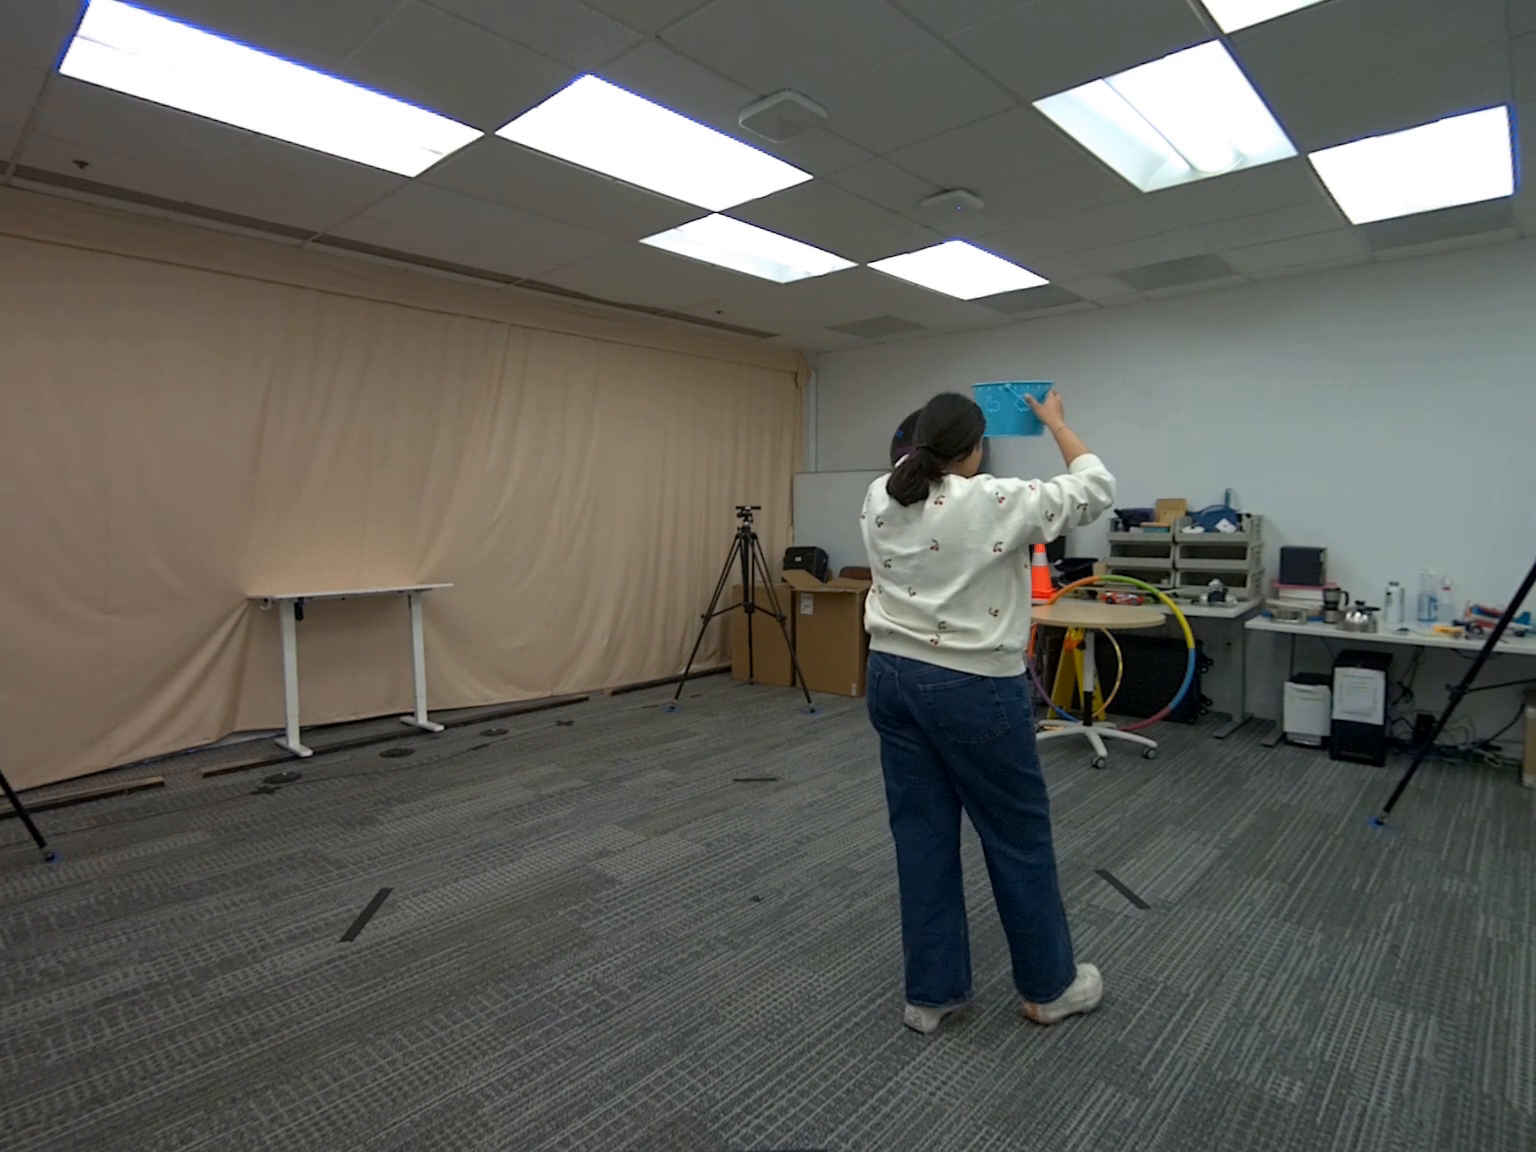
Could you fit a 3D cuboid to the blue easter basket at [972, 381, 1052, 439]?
[{"bbox_3d":[0.728,-0.487,2.453,0.243,0.155,0.245,-1,9,-2],"label":"blue easter basket"}]
